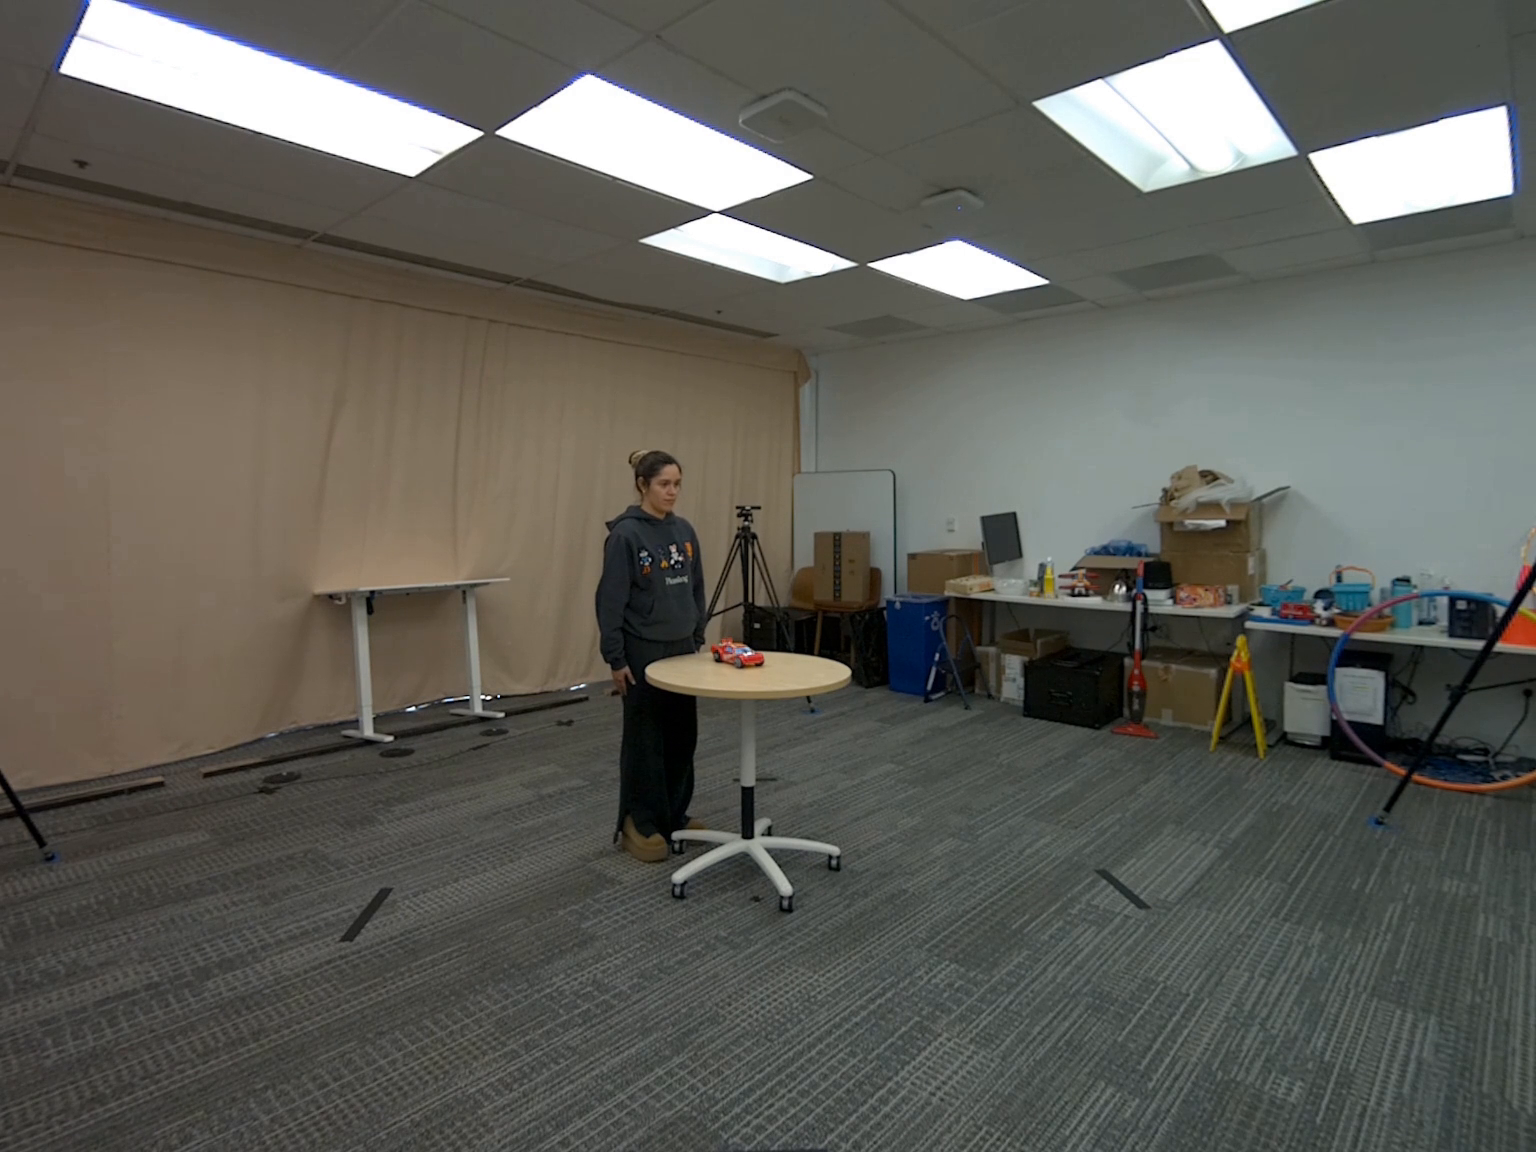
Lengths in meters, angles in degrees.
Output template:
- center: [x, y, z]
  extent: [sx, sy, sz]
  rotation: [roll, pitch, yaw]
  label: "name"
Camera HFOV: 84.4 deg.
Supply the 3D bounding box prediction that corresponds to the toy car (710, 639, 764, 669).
- center: [-0.104, 0.305, 3.263]
  extent: [0.127, 0.082, 0.263]
  rotation: [-4, 16, -33]
  label: "toy car"
